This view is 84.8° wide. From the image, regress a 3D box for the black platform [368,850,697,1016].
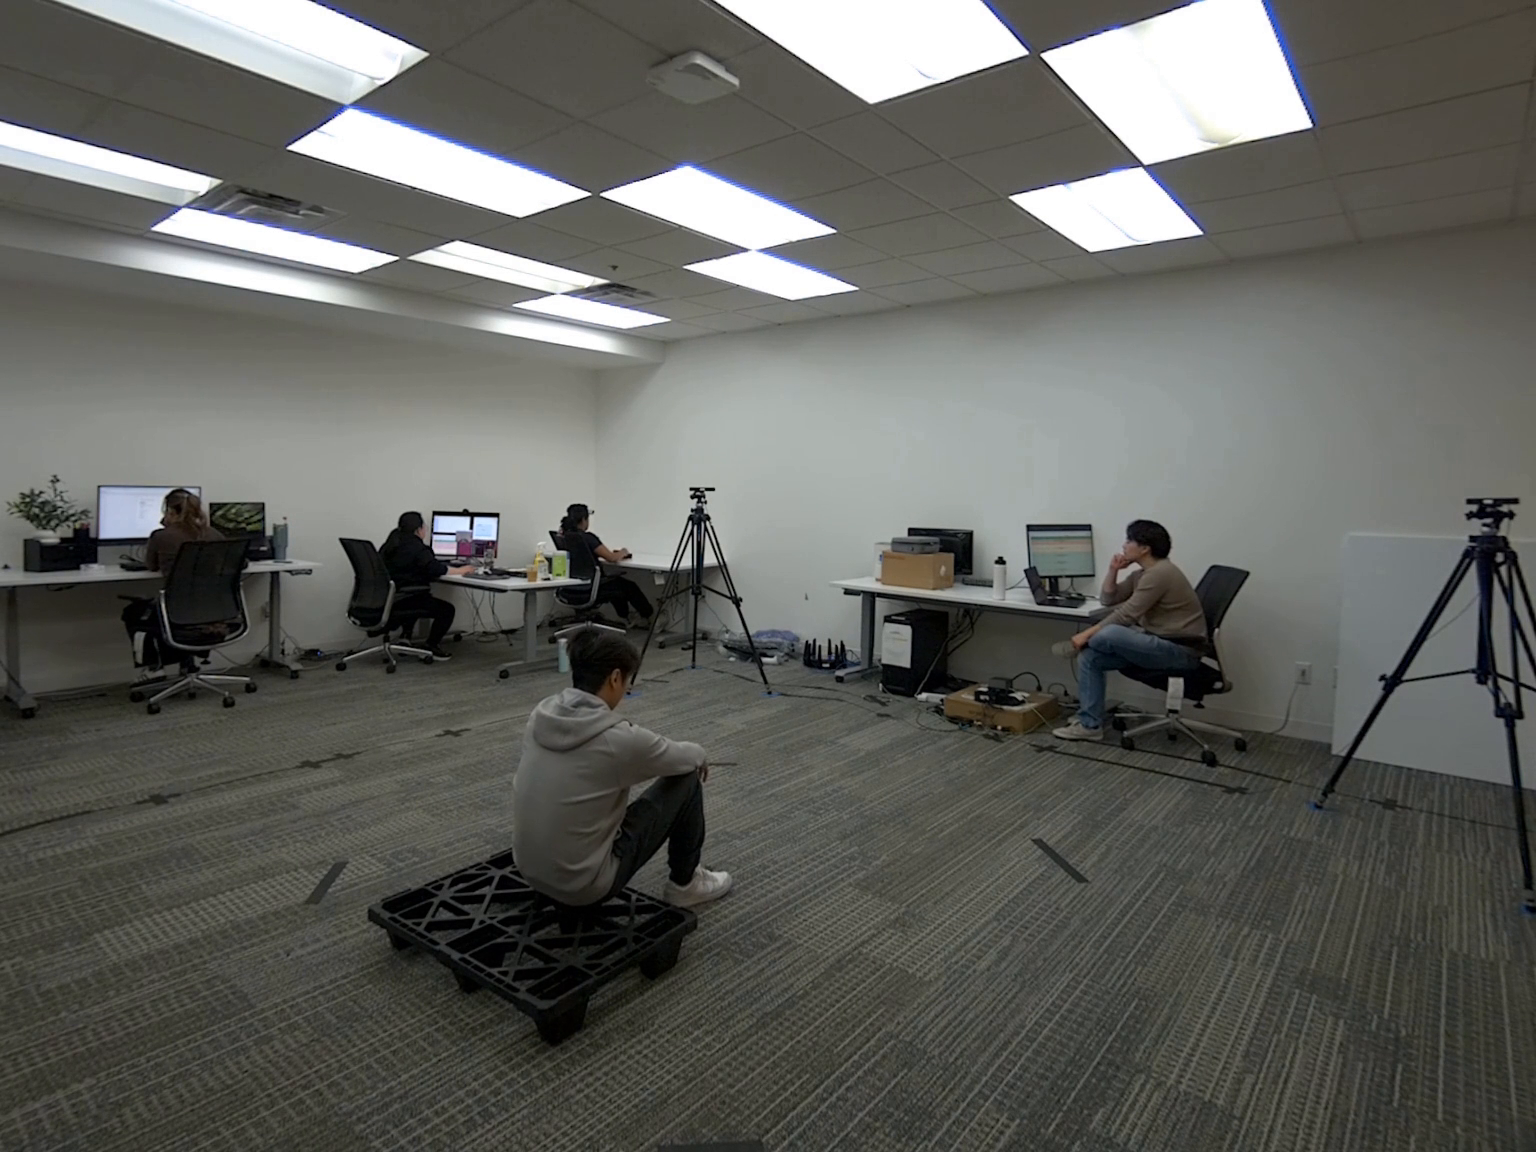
[{"bbox_3d":[-0.706,1.049,2.519,0.832,0.143,0.588,5,6,36],"label":"black platform"}]
